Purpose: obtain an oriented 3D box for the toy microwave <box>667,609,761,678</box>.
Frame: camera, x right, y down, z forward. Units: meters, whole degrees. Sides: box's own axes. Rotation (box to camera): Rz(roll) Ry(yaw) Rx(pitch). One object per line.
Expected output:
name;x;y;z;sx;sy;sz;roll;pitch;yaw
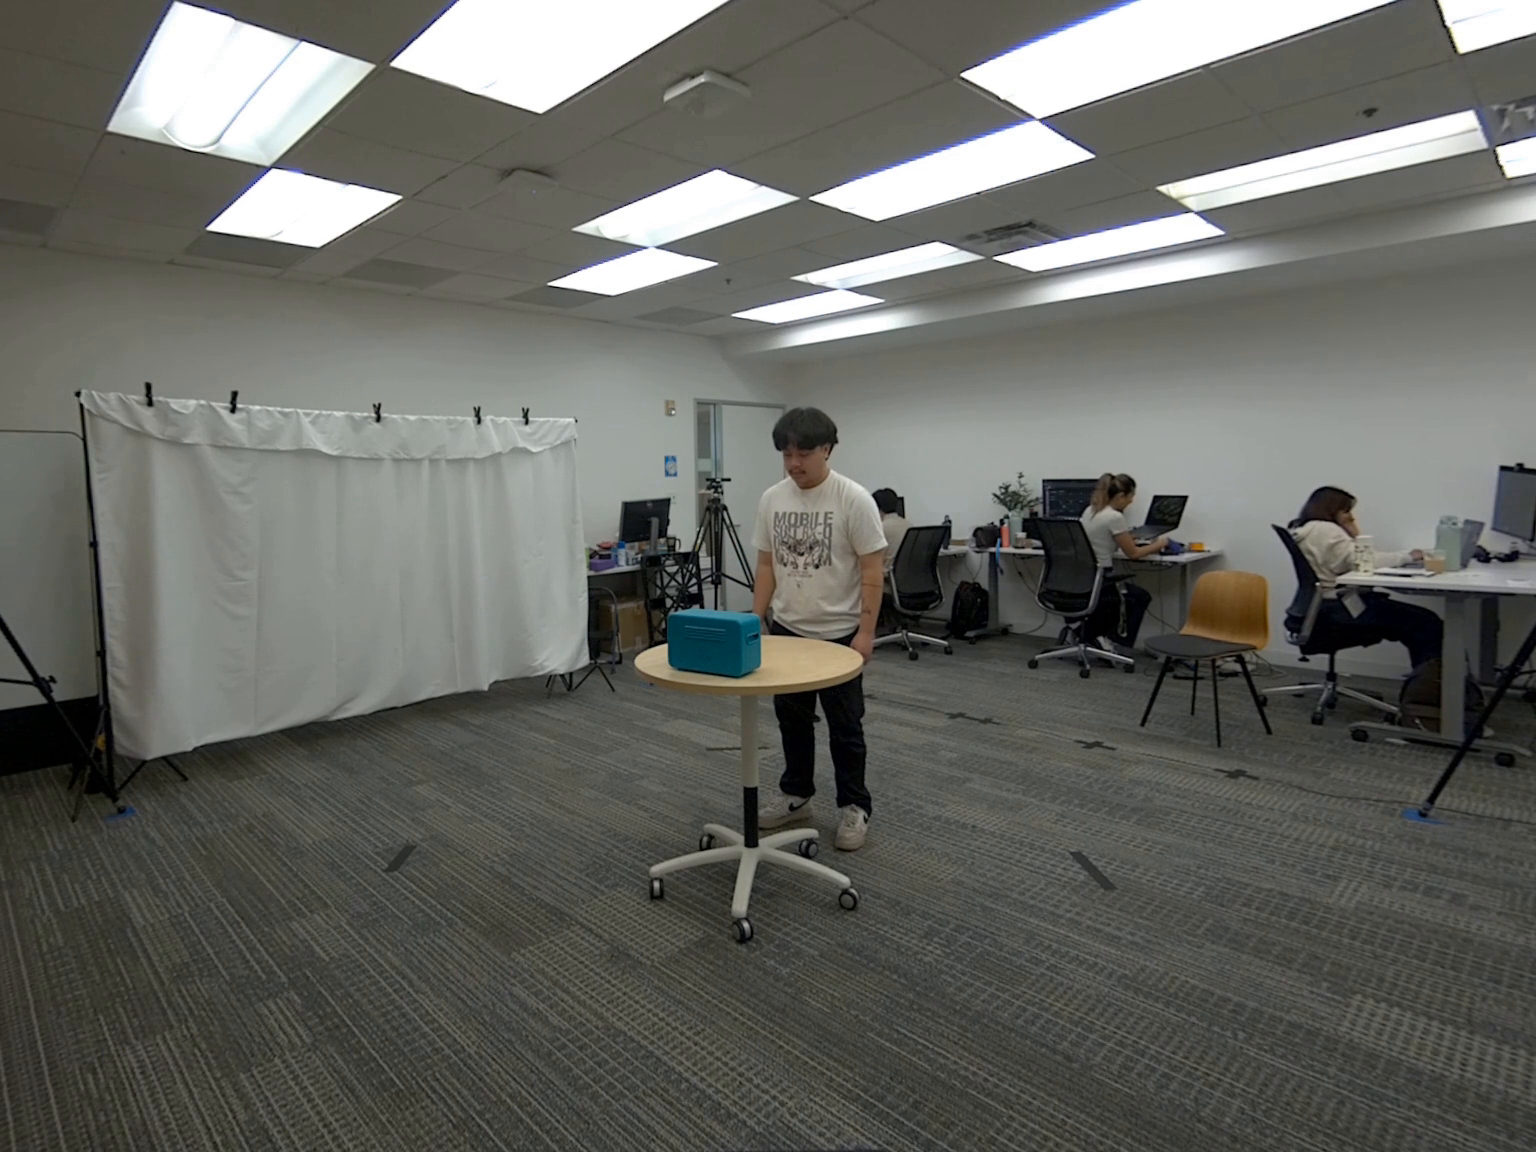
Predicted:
toy microwave;-0.162;0.208;2.706;0.294;0.183;0.149;3;6;32
